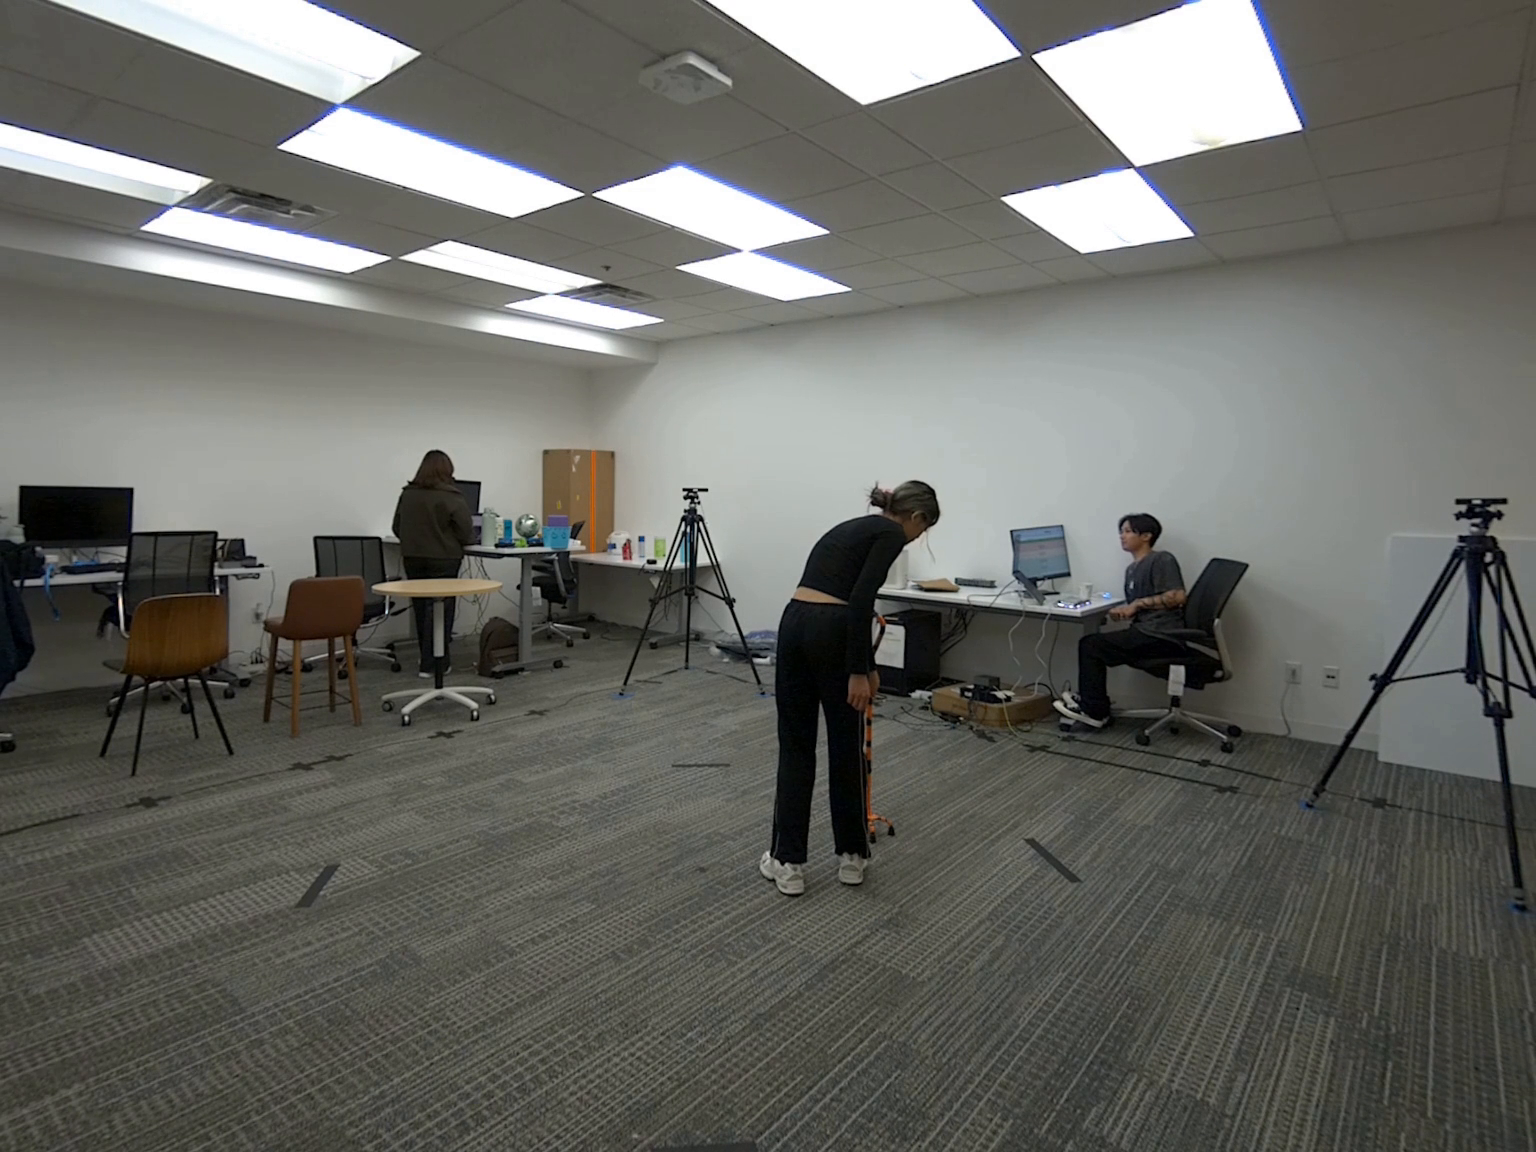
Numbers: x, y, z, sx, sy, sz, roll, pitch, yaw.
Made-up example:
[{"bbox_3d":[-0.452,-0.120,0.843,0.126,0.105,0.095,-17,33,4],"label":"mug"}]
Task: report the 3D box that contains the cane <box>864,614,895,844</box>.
[{"bbox_3d":[0.390,0.592,3.485,0.147,0.907,0.213,-1,2,-42],"label":"cane"}]
